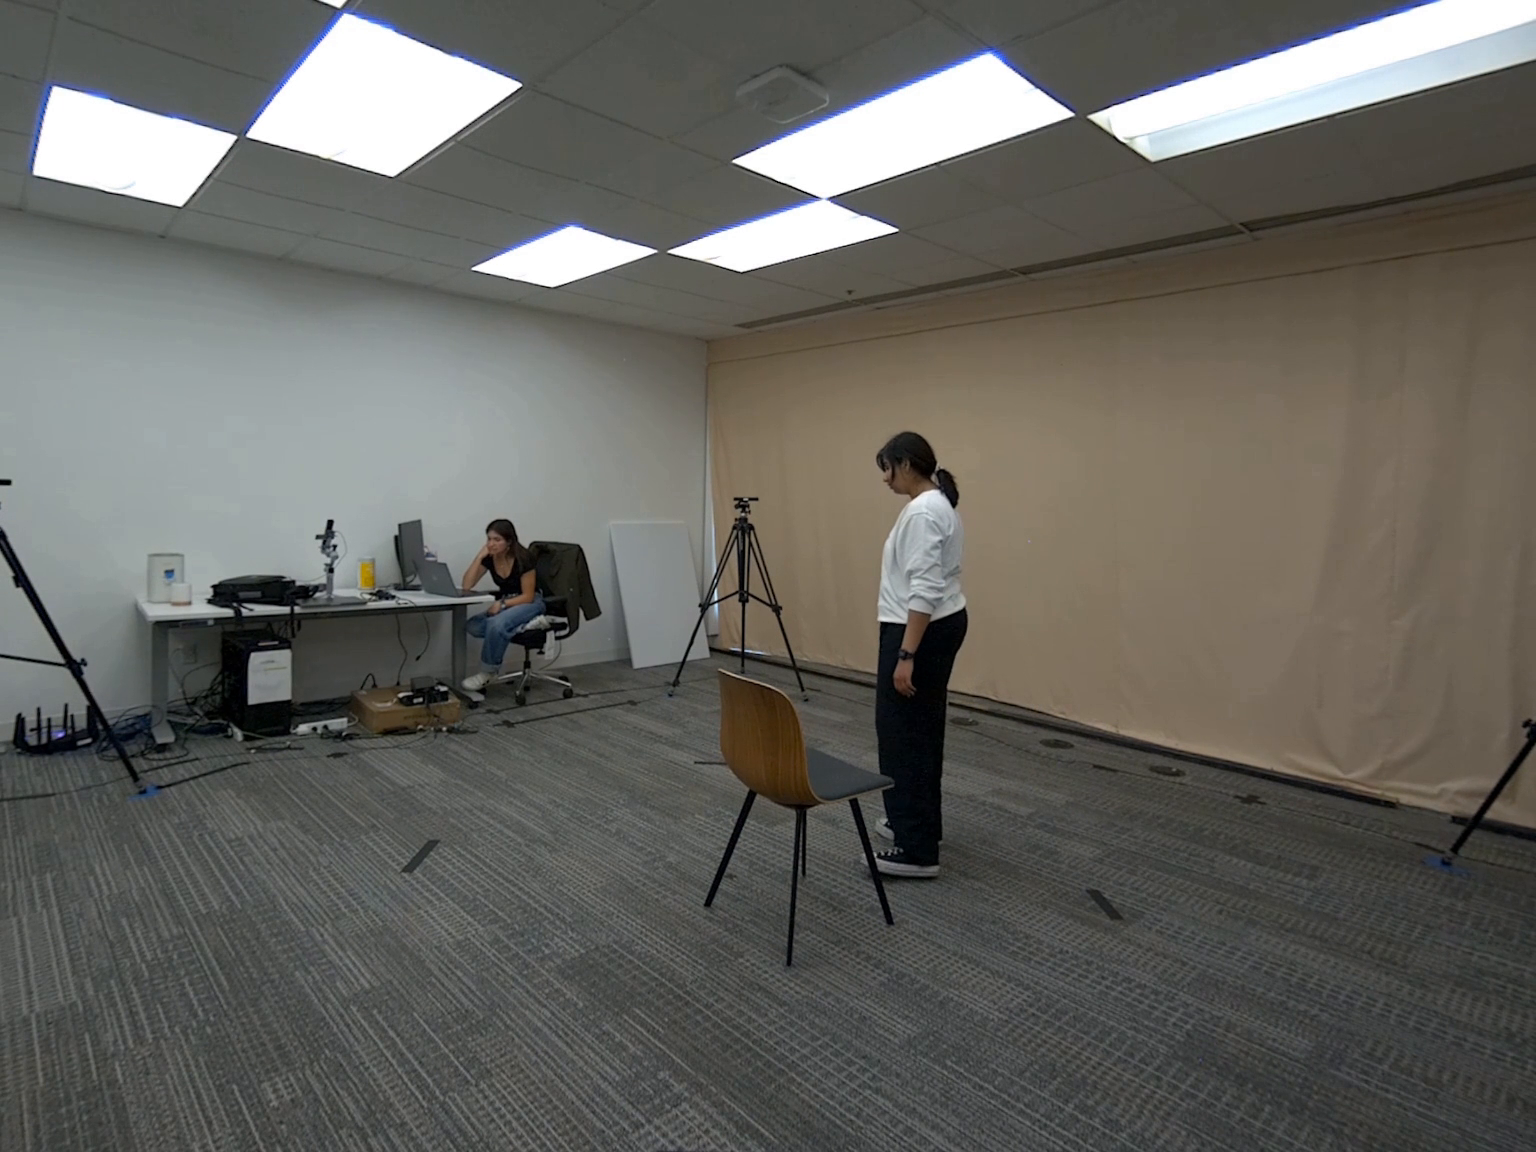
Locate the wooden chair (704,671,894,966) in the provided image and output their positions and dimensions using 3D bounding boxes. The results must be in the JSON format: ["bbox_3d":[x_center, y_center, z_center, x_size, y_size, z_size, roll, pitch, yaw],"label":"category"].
[{"bbox_3d":[0.109,0.713,2.795,0.512,0.873,0.490,-7,8,-37],"label":"wooden chair"}]
